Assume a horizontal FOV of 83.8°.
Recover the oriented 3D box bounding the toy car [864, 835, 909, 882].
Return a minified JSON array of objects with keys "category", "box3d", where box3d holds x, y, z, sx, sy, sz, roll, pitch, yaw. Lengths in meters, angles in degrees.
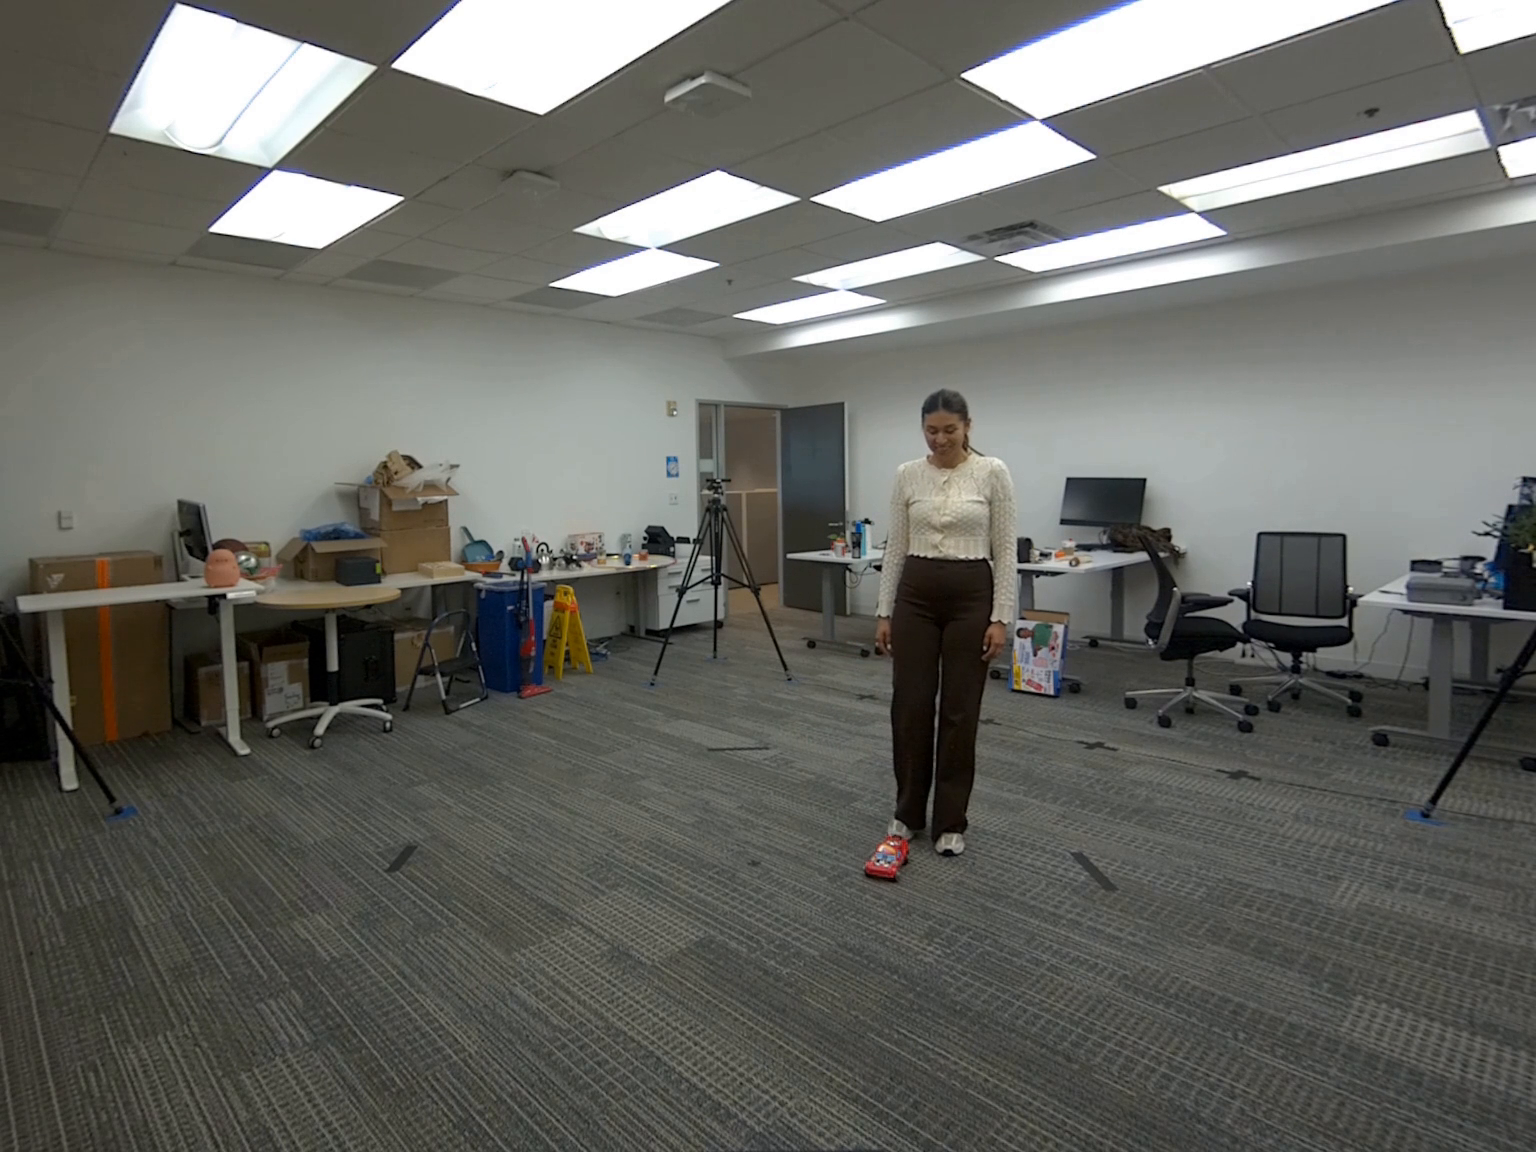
[{"category":"toy car","box3d":[0.436,1.010,3.055,0.133,0.082,0.252,1,18,24]}]
